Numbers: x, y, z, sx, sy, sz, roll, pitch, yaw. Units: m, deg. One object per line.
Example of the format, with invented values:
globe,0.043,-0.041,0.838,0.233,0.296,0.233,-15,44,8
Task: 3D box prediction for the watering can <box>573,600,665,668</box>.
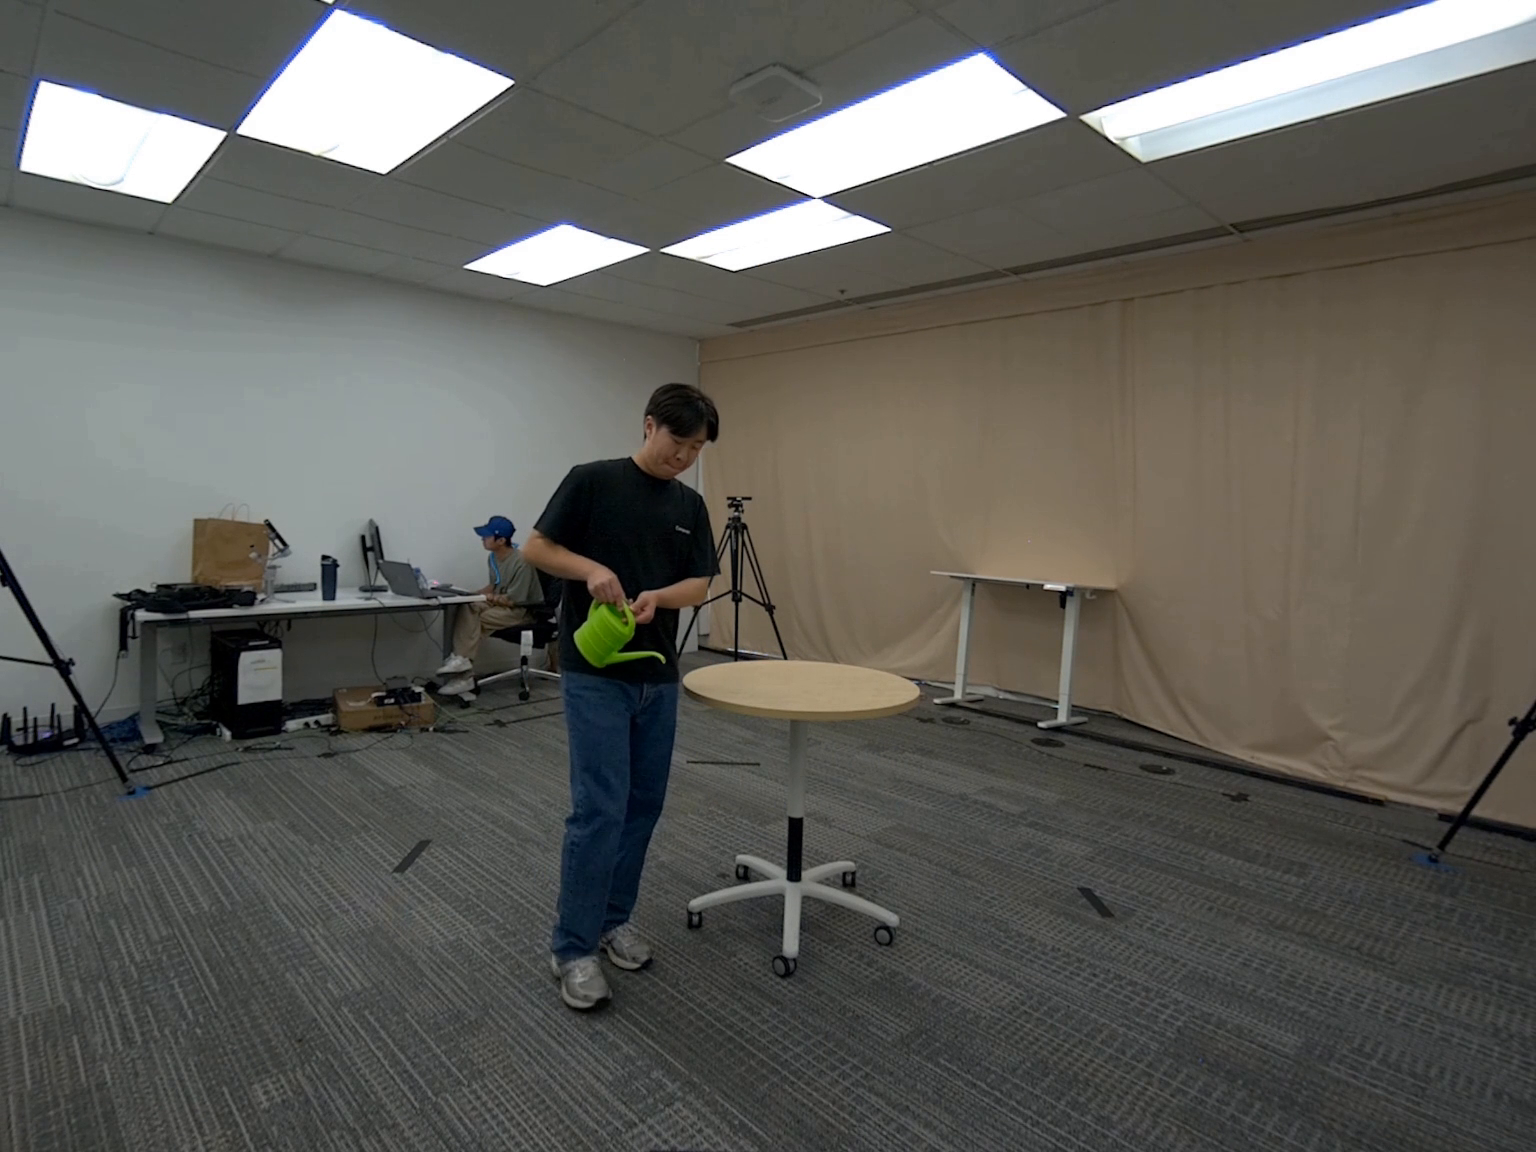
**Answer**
watering can,-0.423,0.184,2.266,0.095,0.177,0.287,25,24,-50
